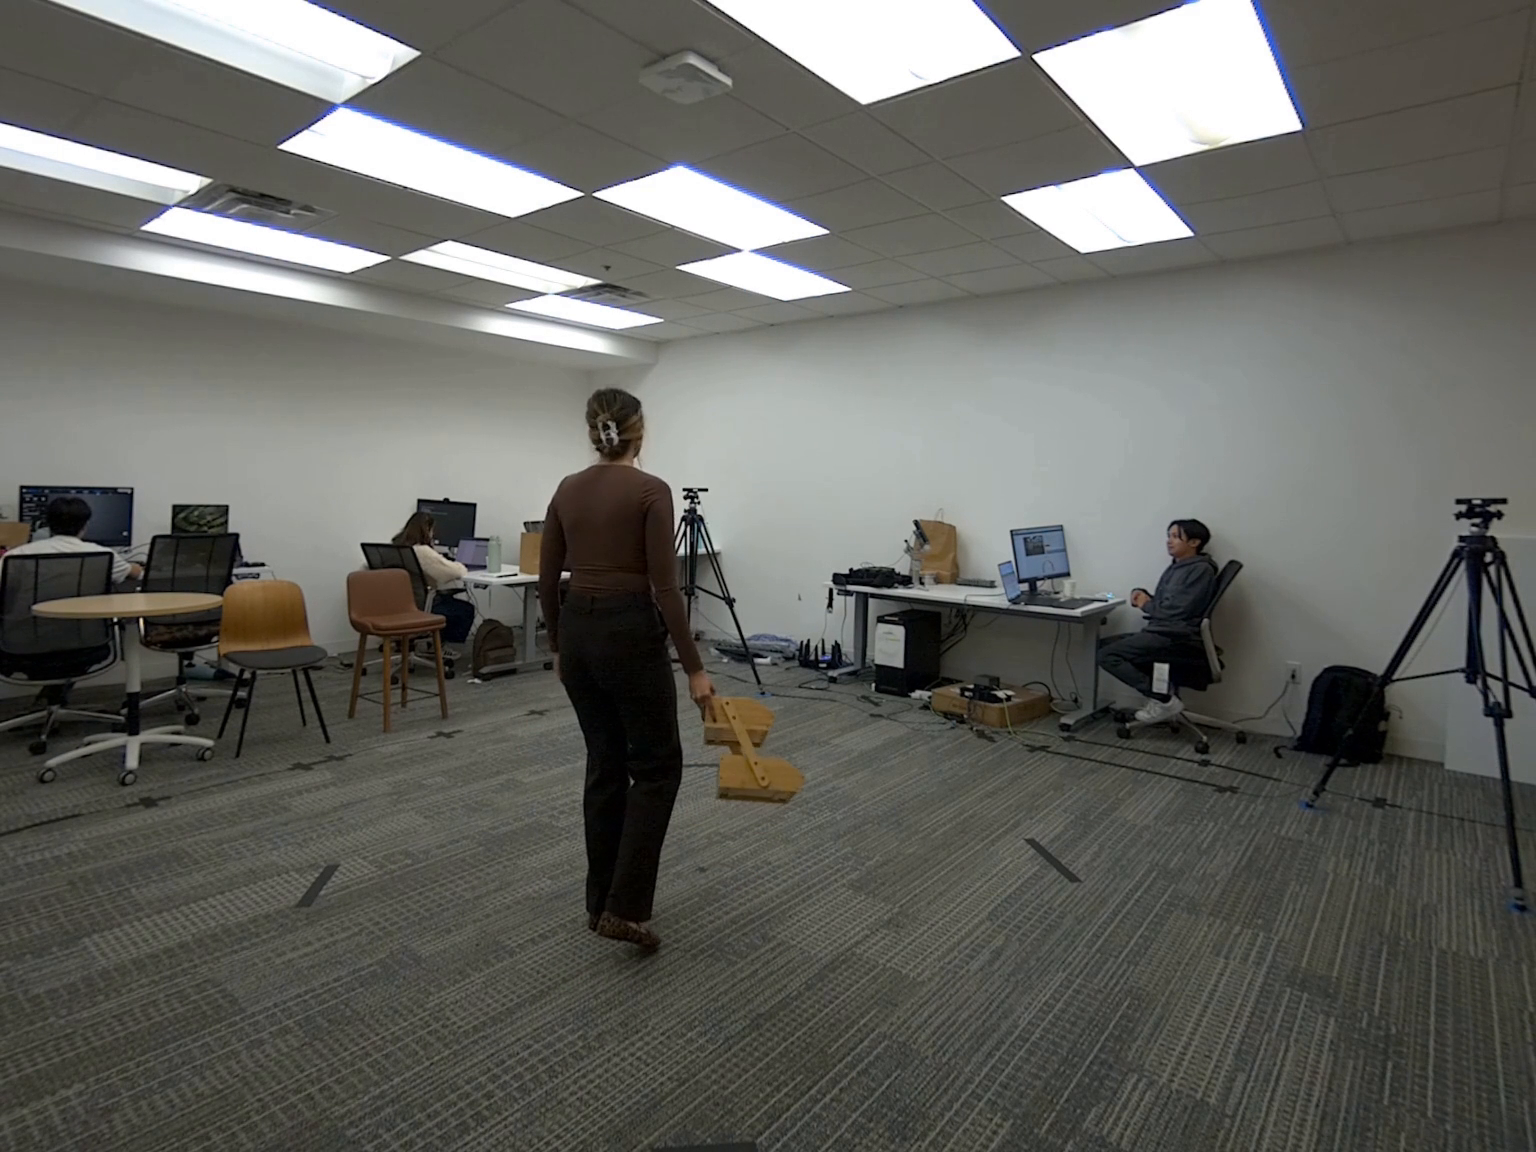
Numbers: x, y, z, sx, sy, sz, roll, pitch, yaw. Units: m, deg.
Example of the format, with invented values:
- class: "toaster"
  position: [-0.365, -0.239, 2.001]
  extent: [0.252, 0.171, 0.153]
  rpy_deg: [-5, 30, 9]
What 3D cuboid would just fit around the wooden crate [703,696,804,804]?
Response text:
- class: "wooden crate"
  position: [-0.063, 0.544, 2.637]
  extent: [0.301, 0.278, 0.319]
  rpy_deg: [5, -22, -4]
